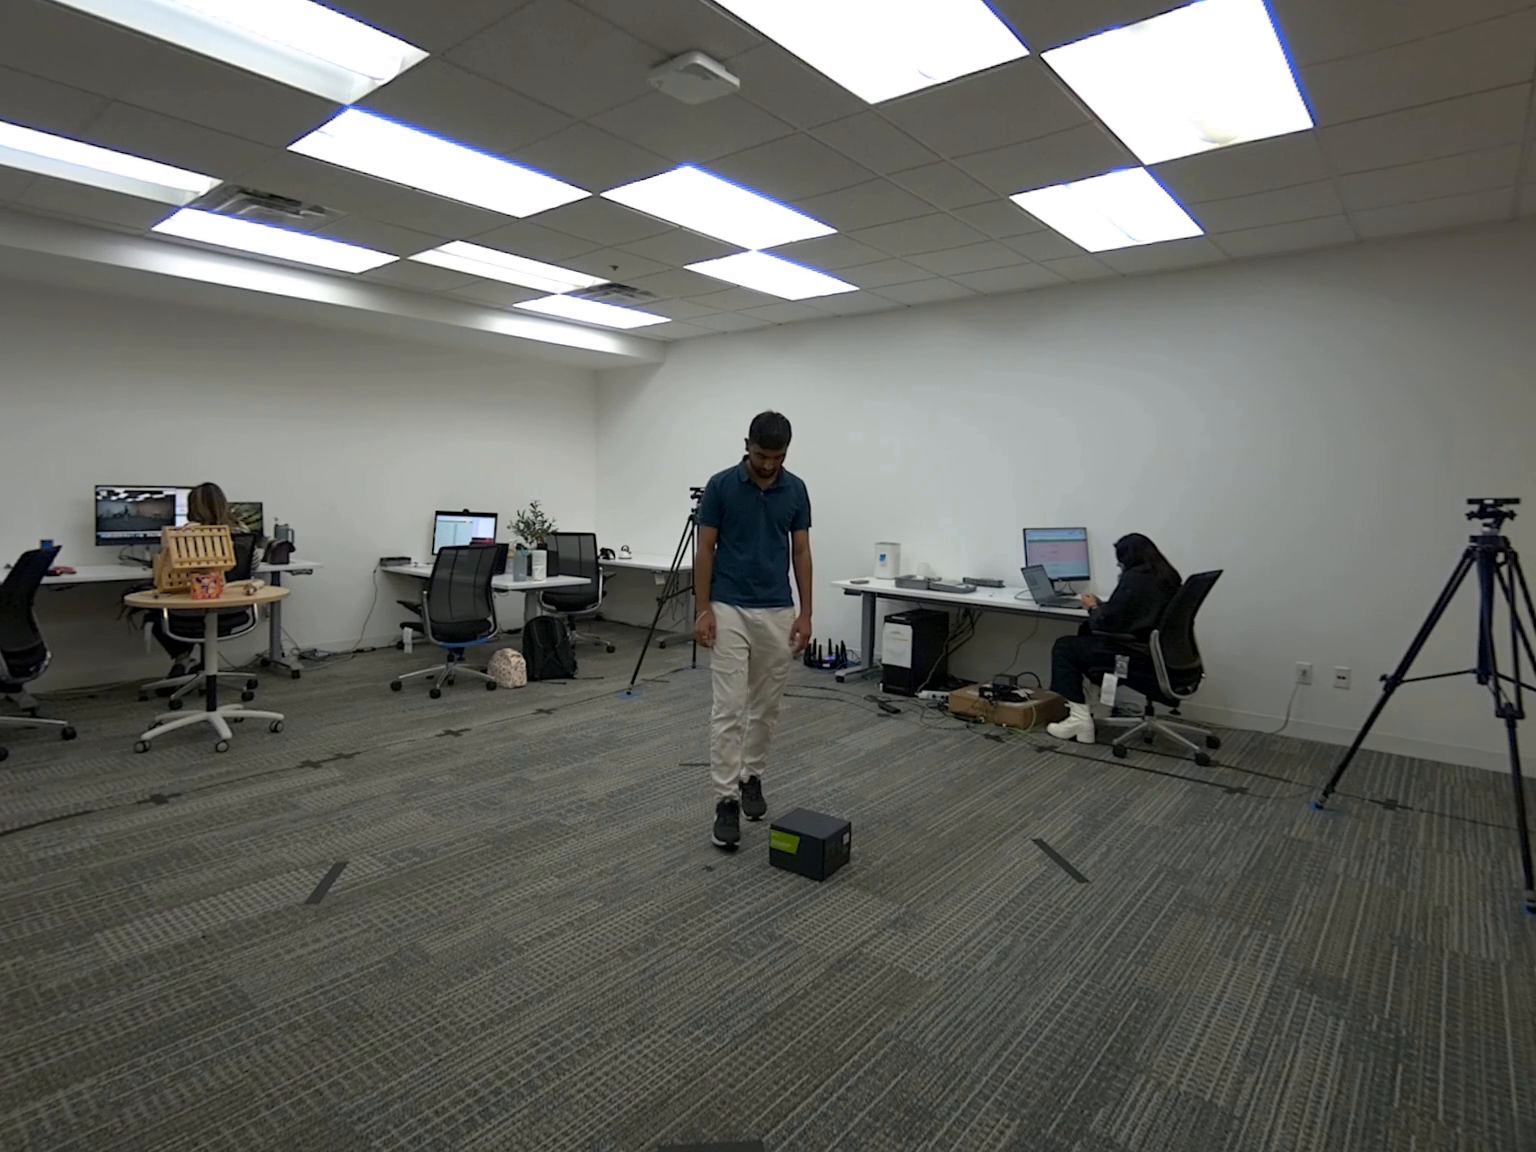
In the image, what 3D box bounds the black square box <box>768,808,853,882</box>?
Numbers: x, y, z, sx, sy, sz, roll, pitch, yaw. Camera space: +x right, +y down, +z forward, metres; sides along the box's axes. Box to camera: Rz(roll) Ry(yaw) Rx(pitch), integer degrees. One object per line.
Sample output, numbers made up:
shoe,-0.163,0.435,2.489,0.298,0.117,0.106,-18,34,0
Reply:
black square box,0.150,0.983,3.163,0.235,0.155,0.211,5,6,34
